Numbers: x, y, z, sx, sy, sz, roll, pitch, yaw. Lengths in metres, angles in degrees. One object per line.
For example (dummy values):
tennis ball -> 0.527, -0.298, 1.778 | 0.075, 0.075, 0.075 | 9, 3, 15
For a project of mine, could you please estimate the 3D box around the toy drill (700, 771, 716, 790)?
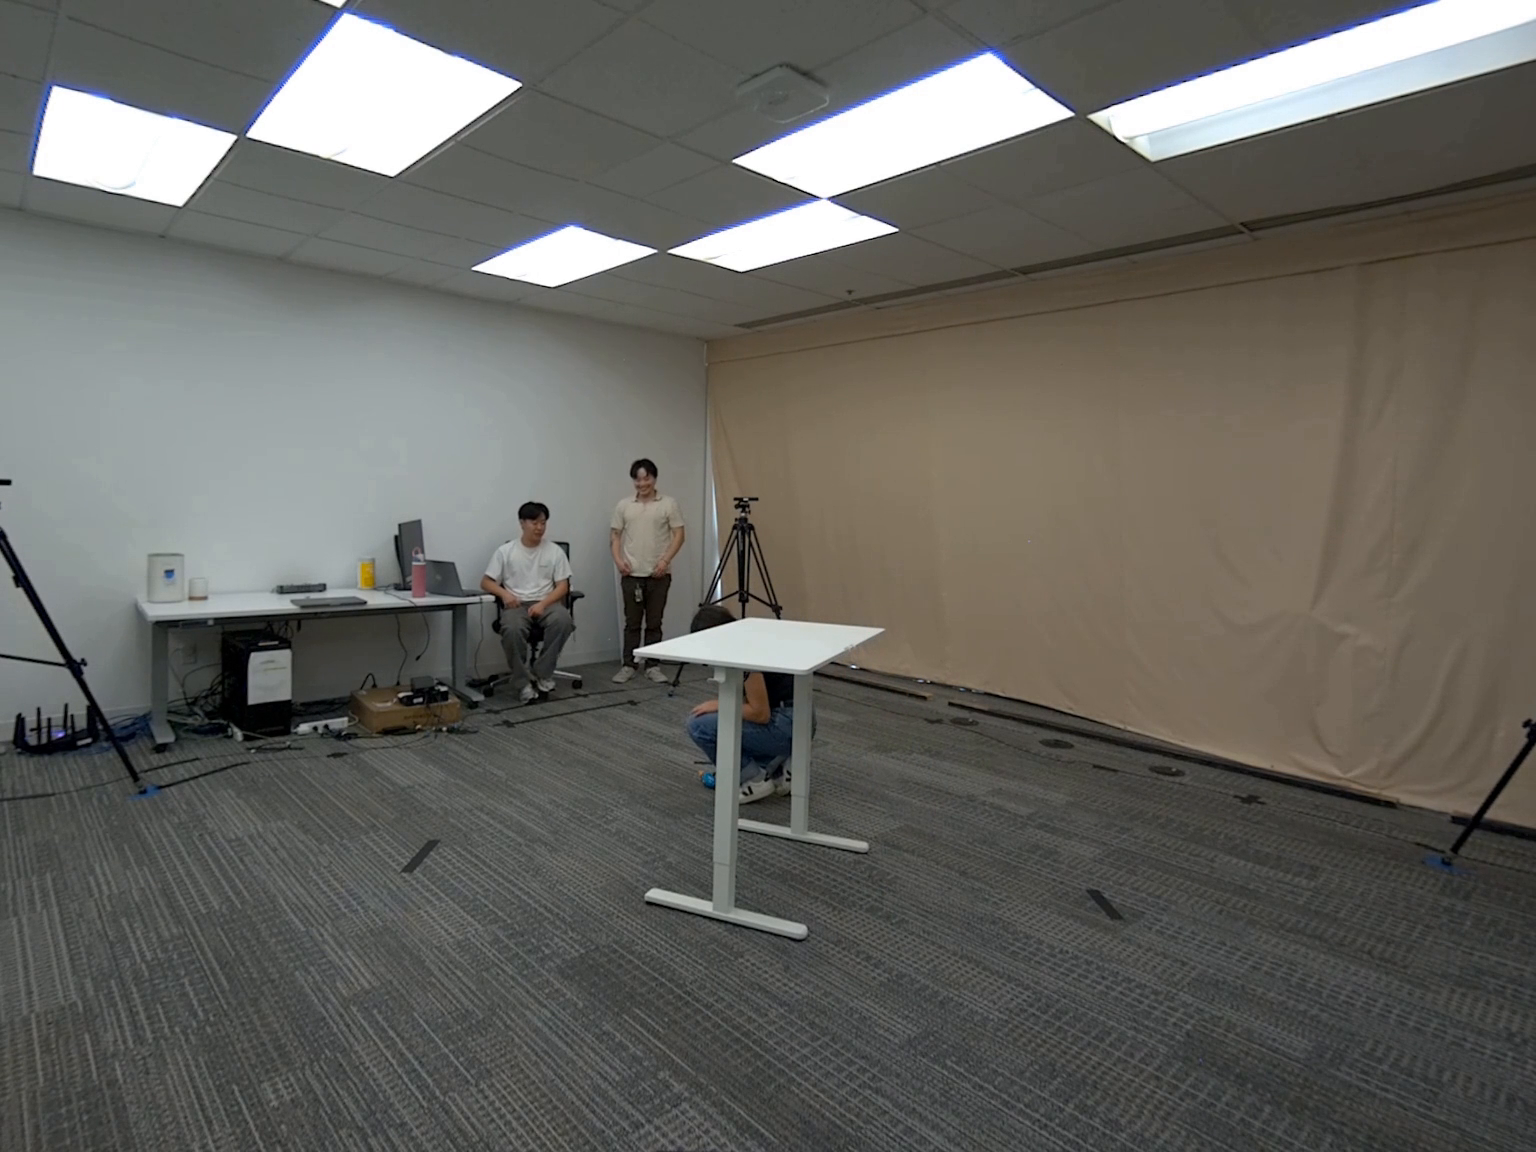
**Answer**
toy drill -> -0.272, 0.990, 4.116 | 0.143, 0.061, 0.173 | 0, 6, -26
